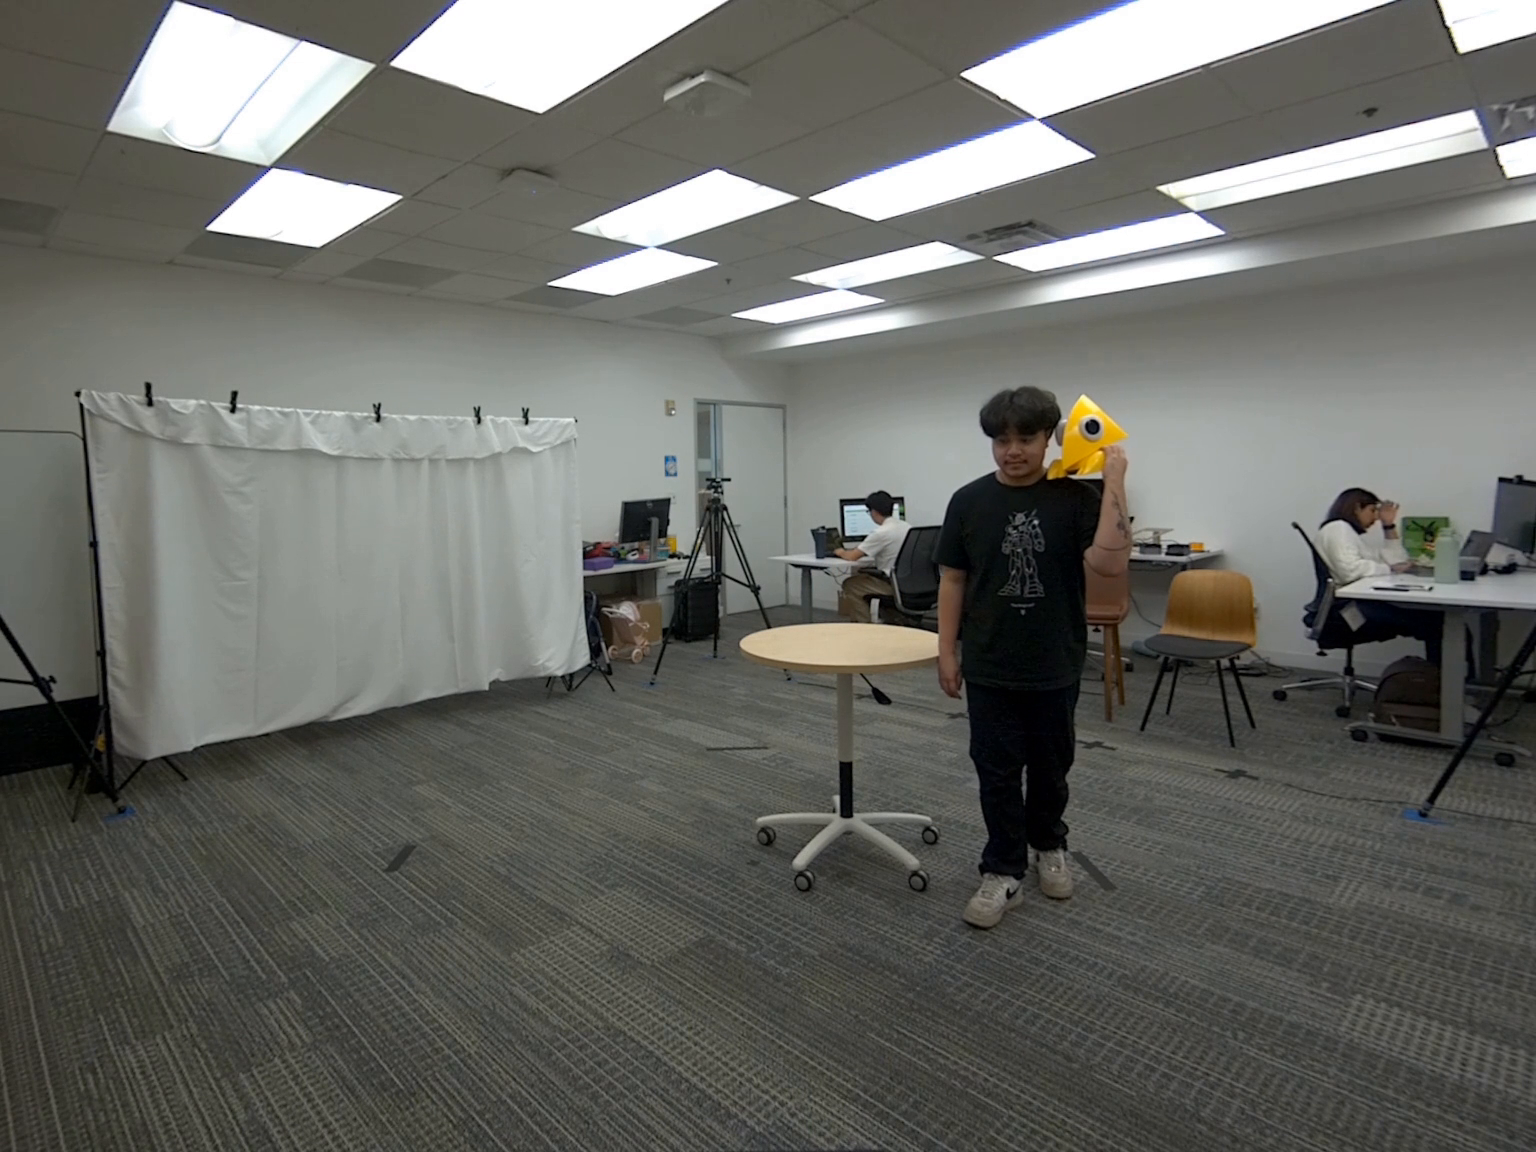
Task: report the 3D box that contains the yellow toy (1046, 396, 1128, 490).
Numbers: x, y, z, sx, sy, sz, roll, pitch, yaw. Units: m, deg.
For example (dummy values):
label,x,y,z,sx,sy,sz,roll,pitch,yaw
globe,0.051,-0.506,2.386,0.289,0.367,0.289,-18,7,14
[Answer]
label,x,y,z,sx,sy,sz,roll,pitch,yaw
yellow toy,0.949,-0.430,2.596,0.189,0.230,0.209,-15,5,-31
